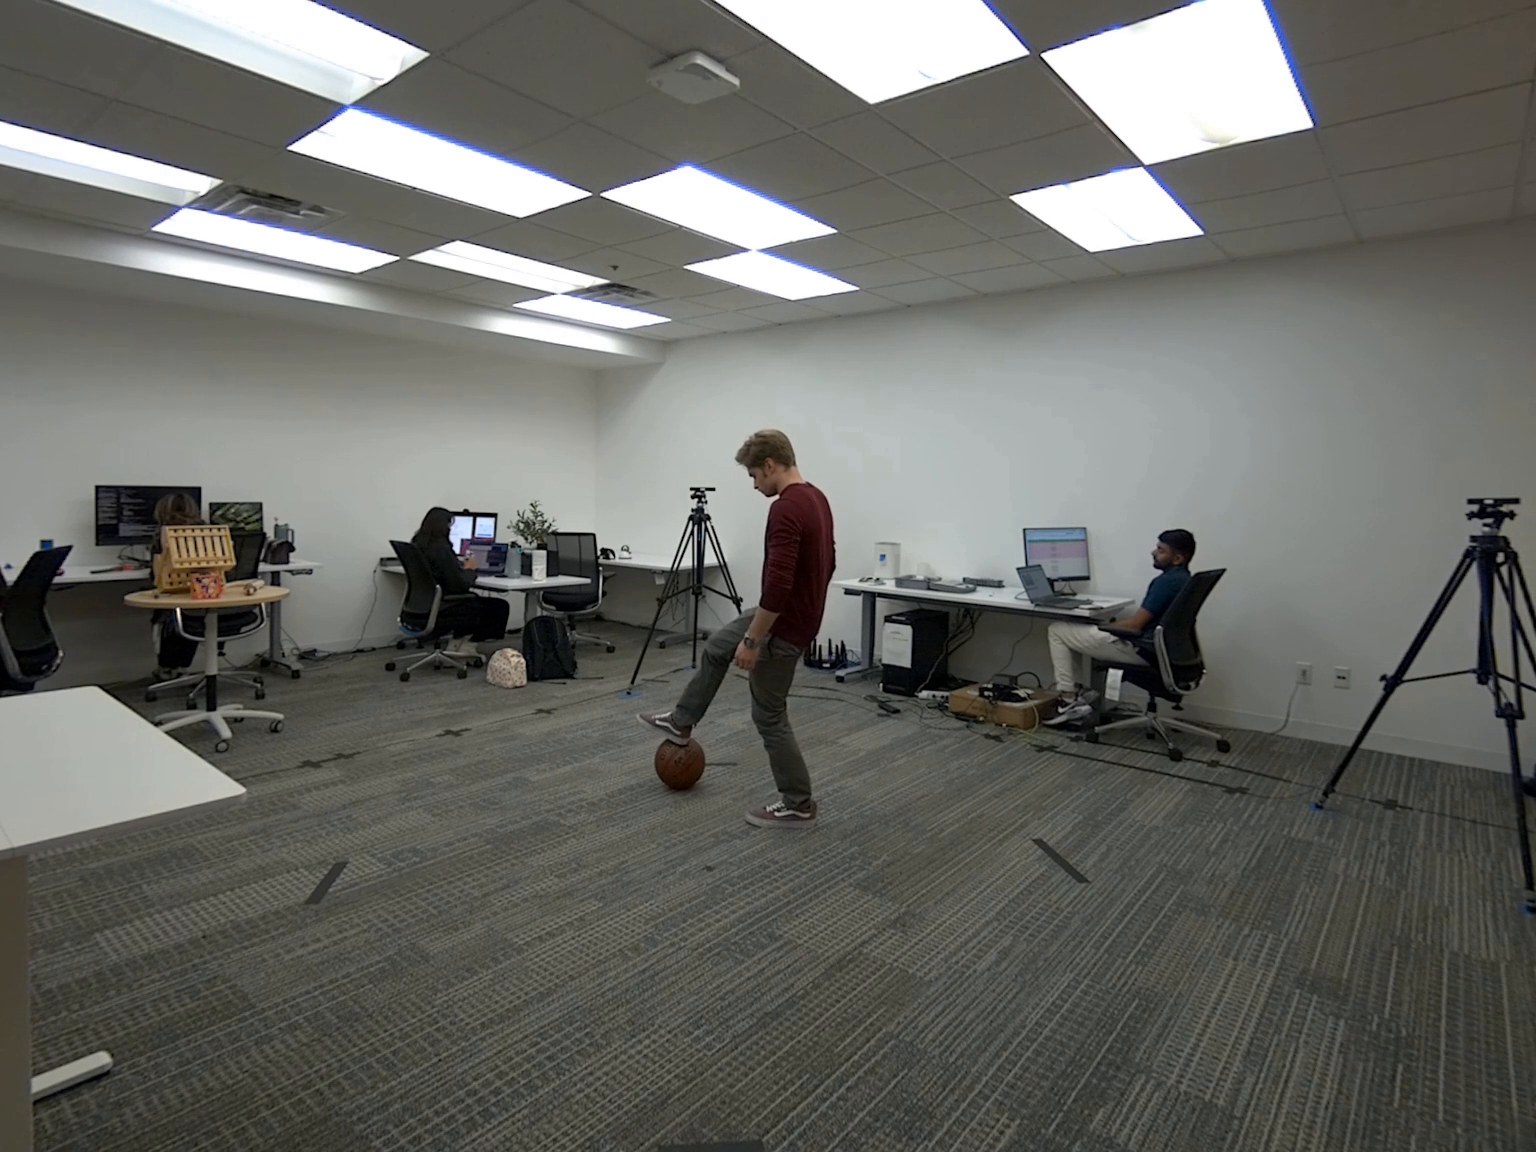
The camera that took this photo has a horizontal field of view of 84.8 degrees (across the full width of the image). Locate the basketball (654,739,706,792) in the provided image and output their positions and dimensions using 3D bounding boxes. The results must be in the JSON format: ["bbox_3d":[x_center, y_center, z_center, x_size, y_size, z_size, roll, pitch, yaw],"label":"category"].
[{"bbox_3d":[-0.412,0.860,3.962,0.235,0.235,0.237,1,4,-2],"label":"basketball"}]
